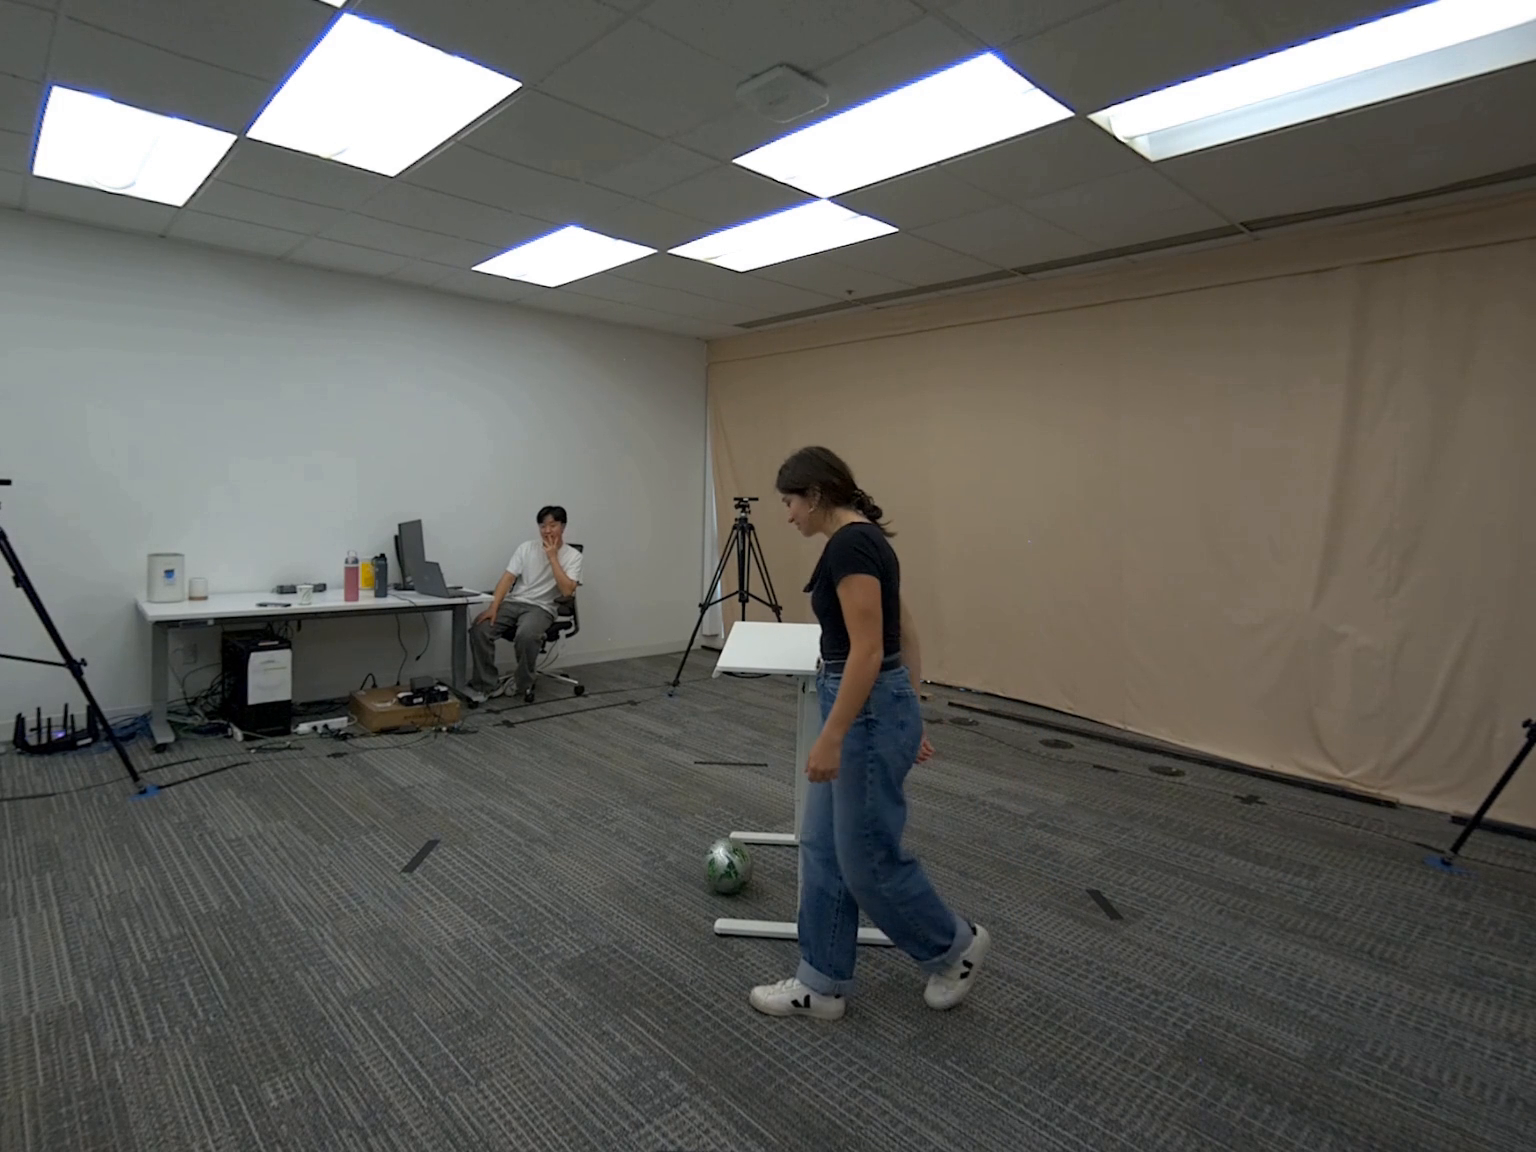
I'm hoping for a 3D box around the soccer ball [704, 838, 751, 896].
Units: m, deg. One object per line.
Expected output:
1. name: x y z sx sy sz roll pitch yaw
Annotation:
1. soccer ball: -0.151 1.026 2.976 0.187 0.187 0.188 1 4 -1
